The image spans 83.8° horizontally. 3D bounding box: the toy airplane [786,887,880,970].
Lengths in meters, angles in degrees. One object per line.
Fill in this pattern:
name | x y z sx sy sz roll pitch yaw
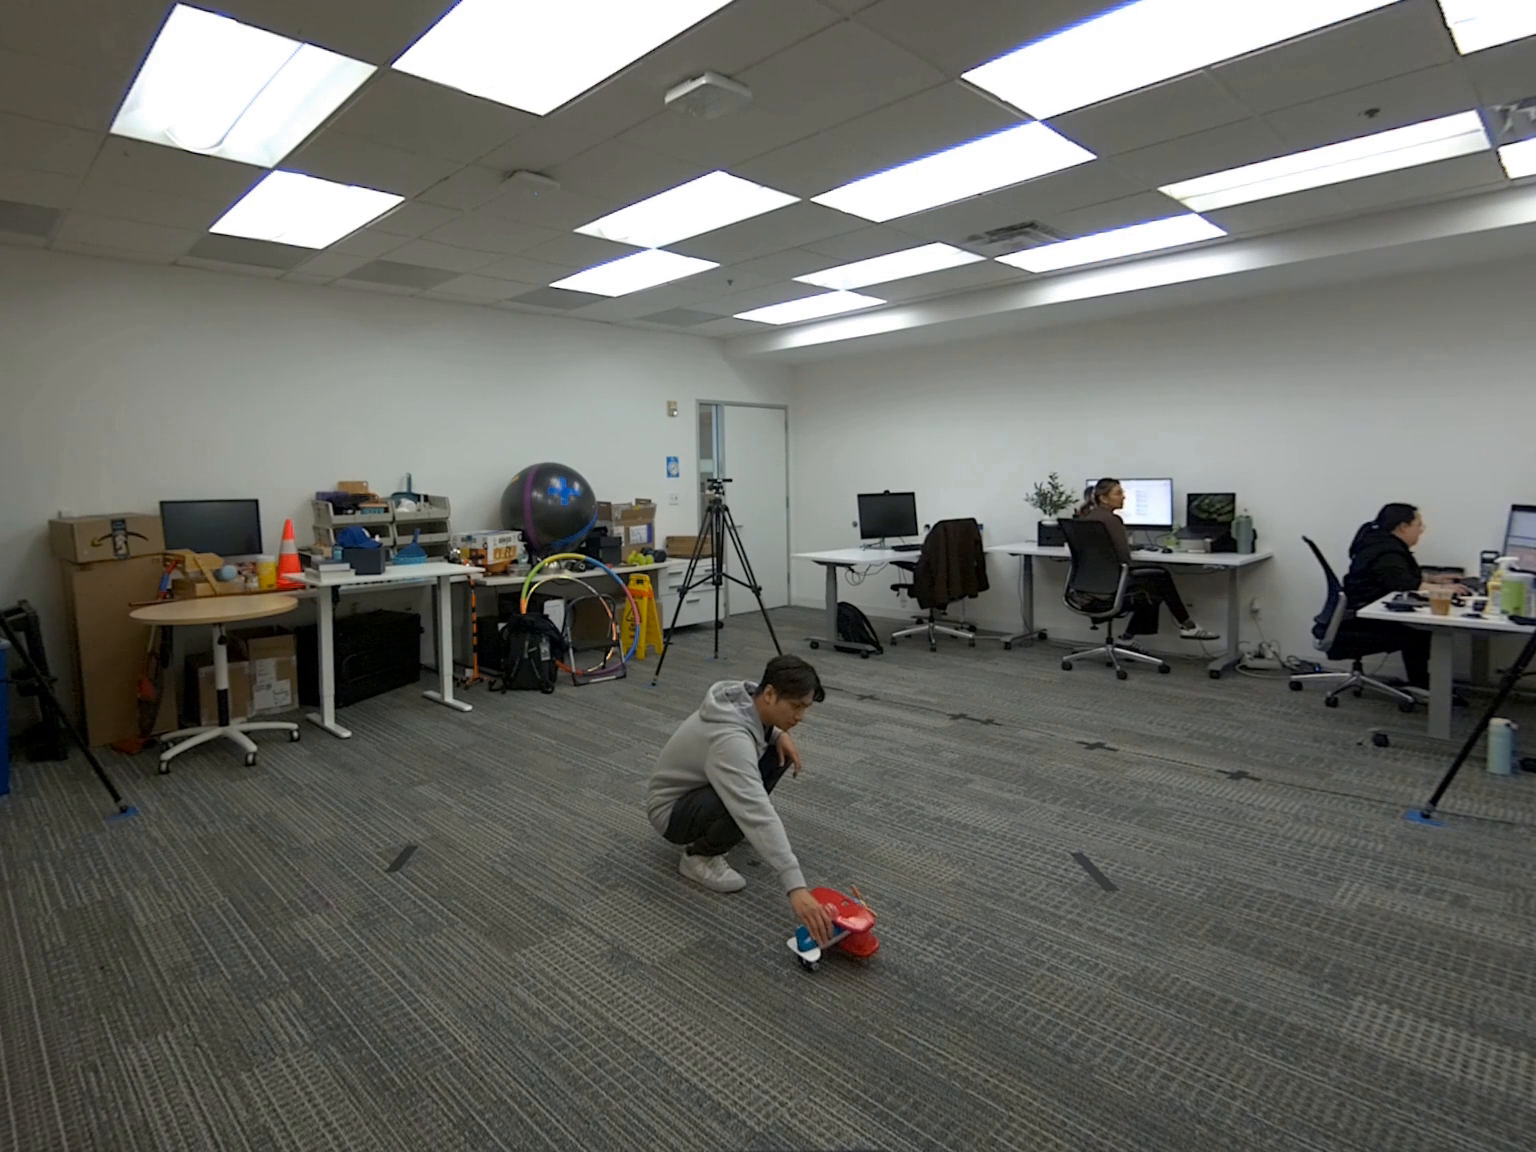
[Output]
toy airplane | 0.208 1.042 2.471 0.257 0.156 0.254 4 6 27
